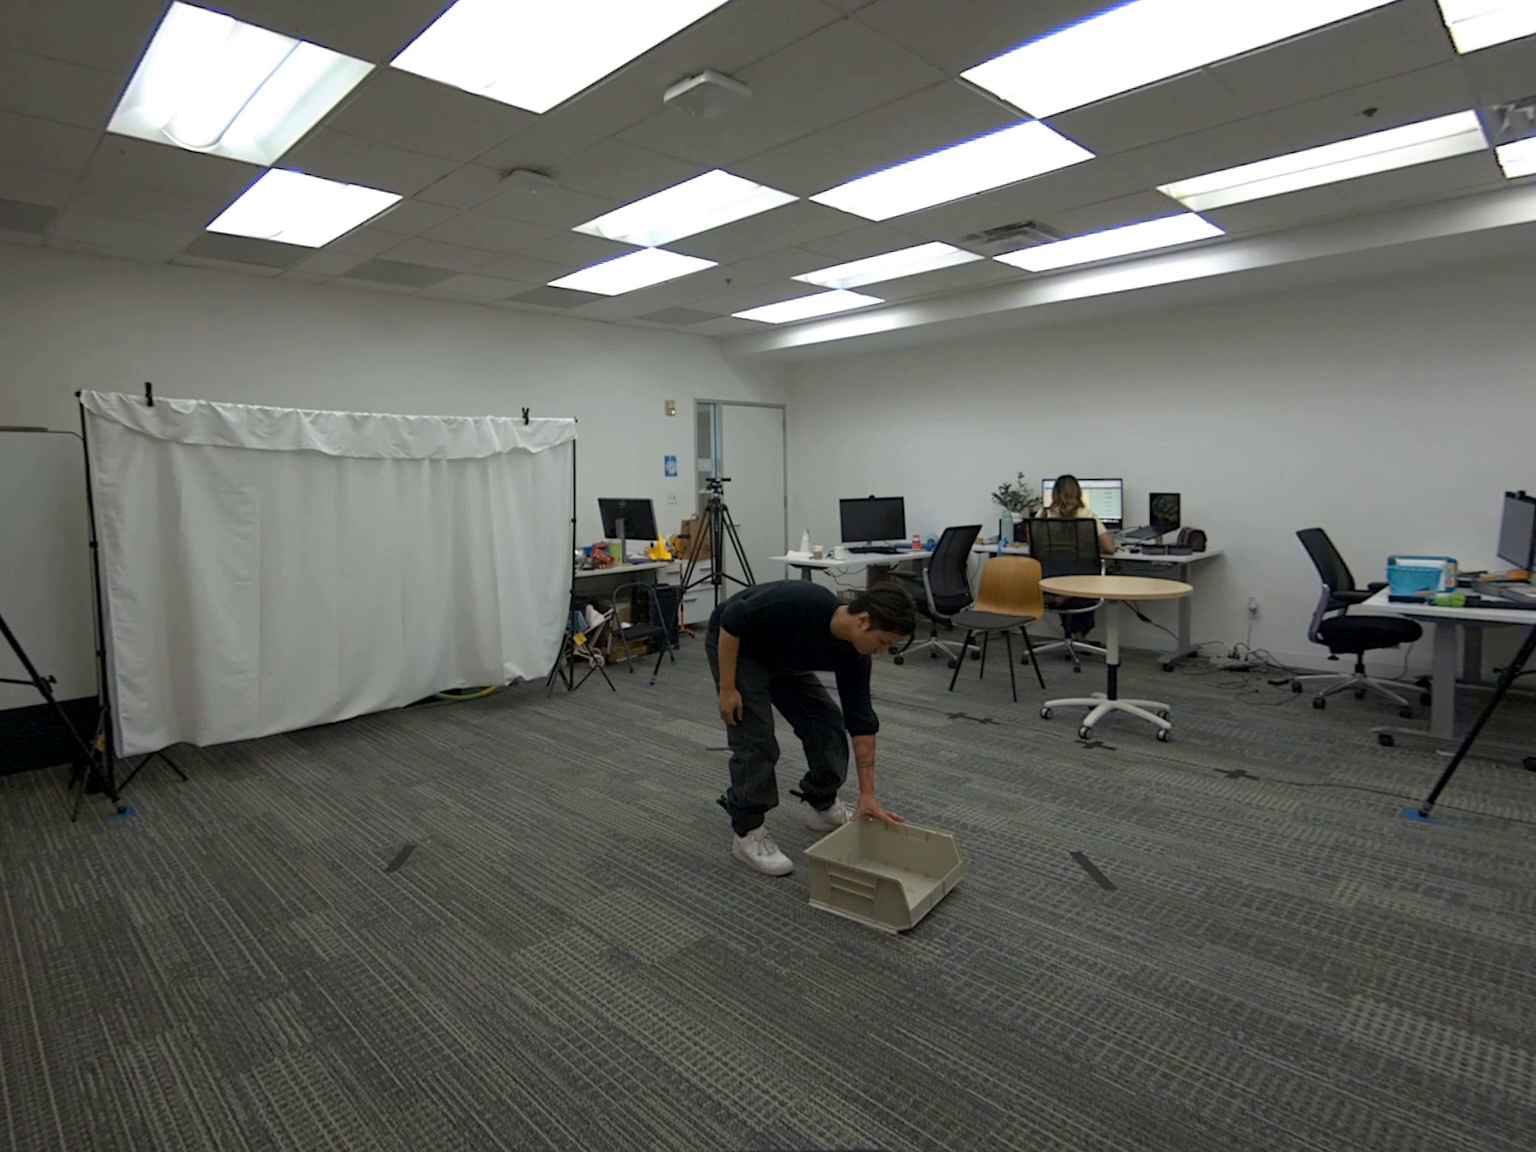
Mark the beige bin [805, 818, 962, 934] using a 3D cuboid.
[{"bbox_3d":[0.395,0.980,2.834,0.388,0.188,0.412,2,7,36],"label":"beige bin"}]
